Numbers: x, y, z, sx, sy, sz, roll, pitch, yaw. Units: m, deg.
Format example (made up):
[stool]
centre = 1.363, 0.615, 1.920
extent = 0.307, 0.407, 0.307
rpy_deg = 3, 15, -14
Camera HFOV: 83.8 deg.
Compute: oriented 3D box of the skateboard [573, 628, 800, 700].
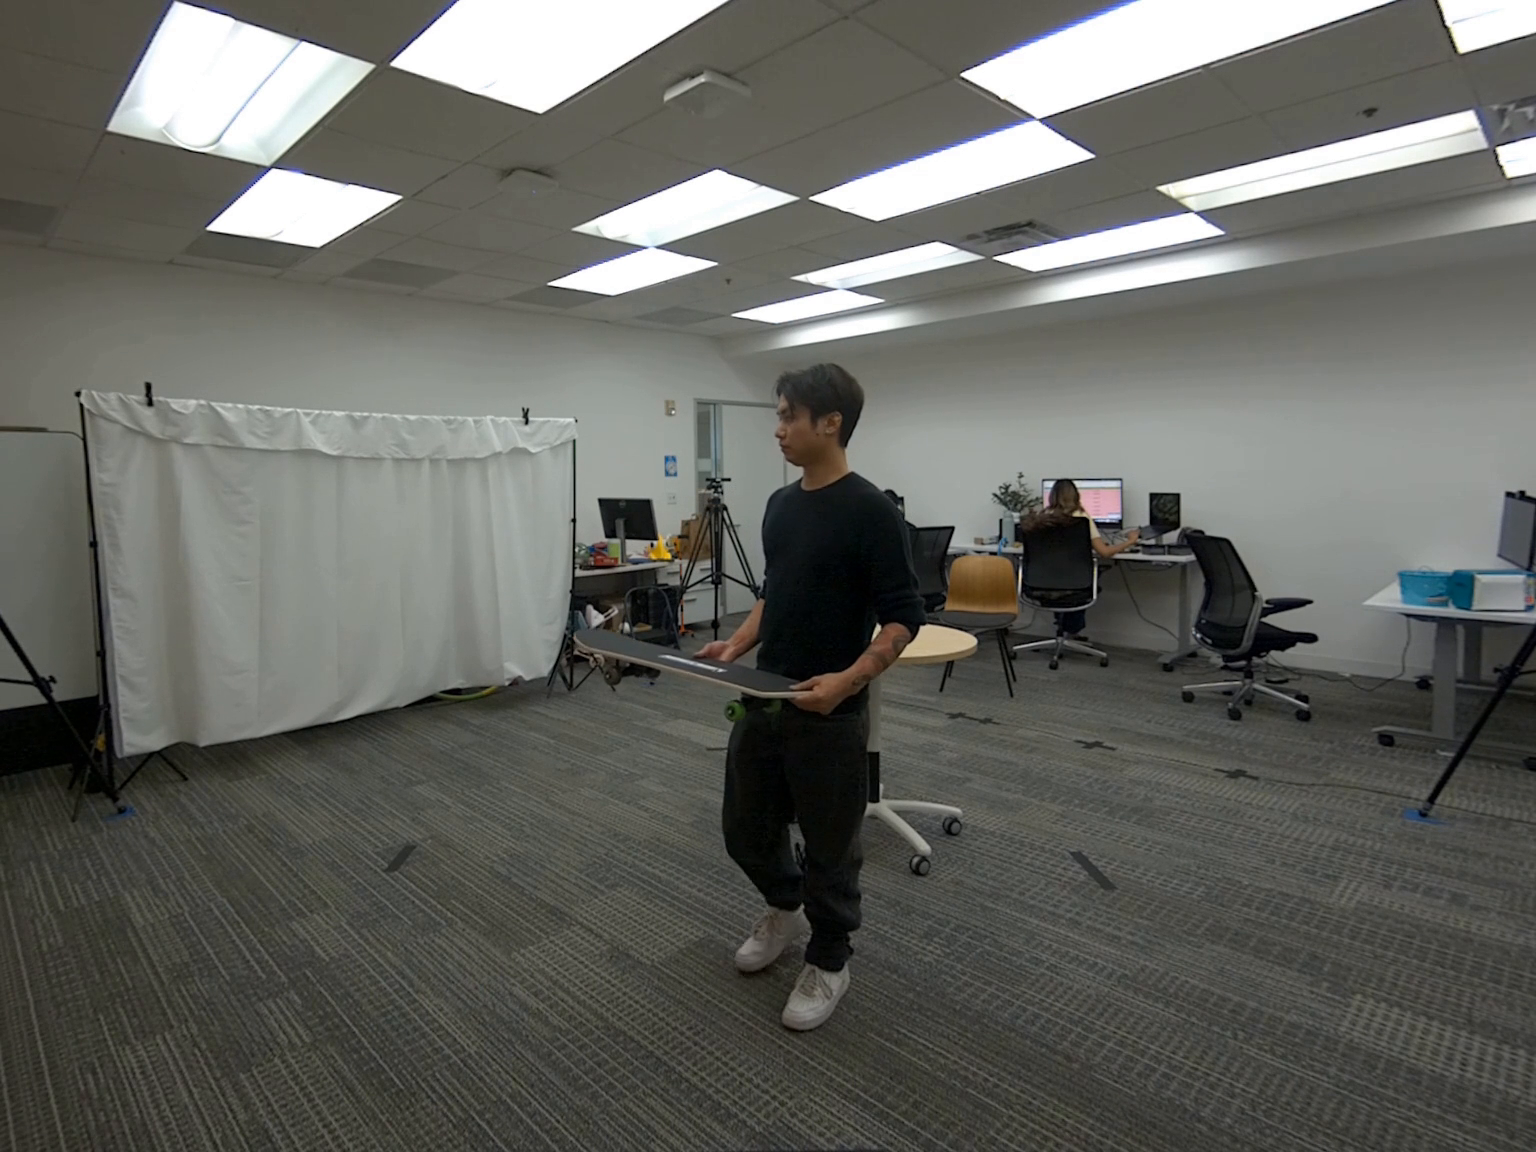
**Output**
[skateboard]
centre = -0.175, 0.265, 2.146
extent = 0.810, 0.110, 0.188
rpy_deg = 9, 6, 37
